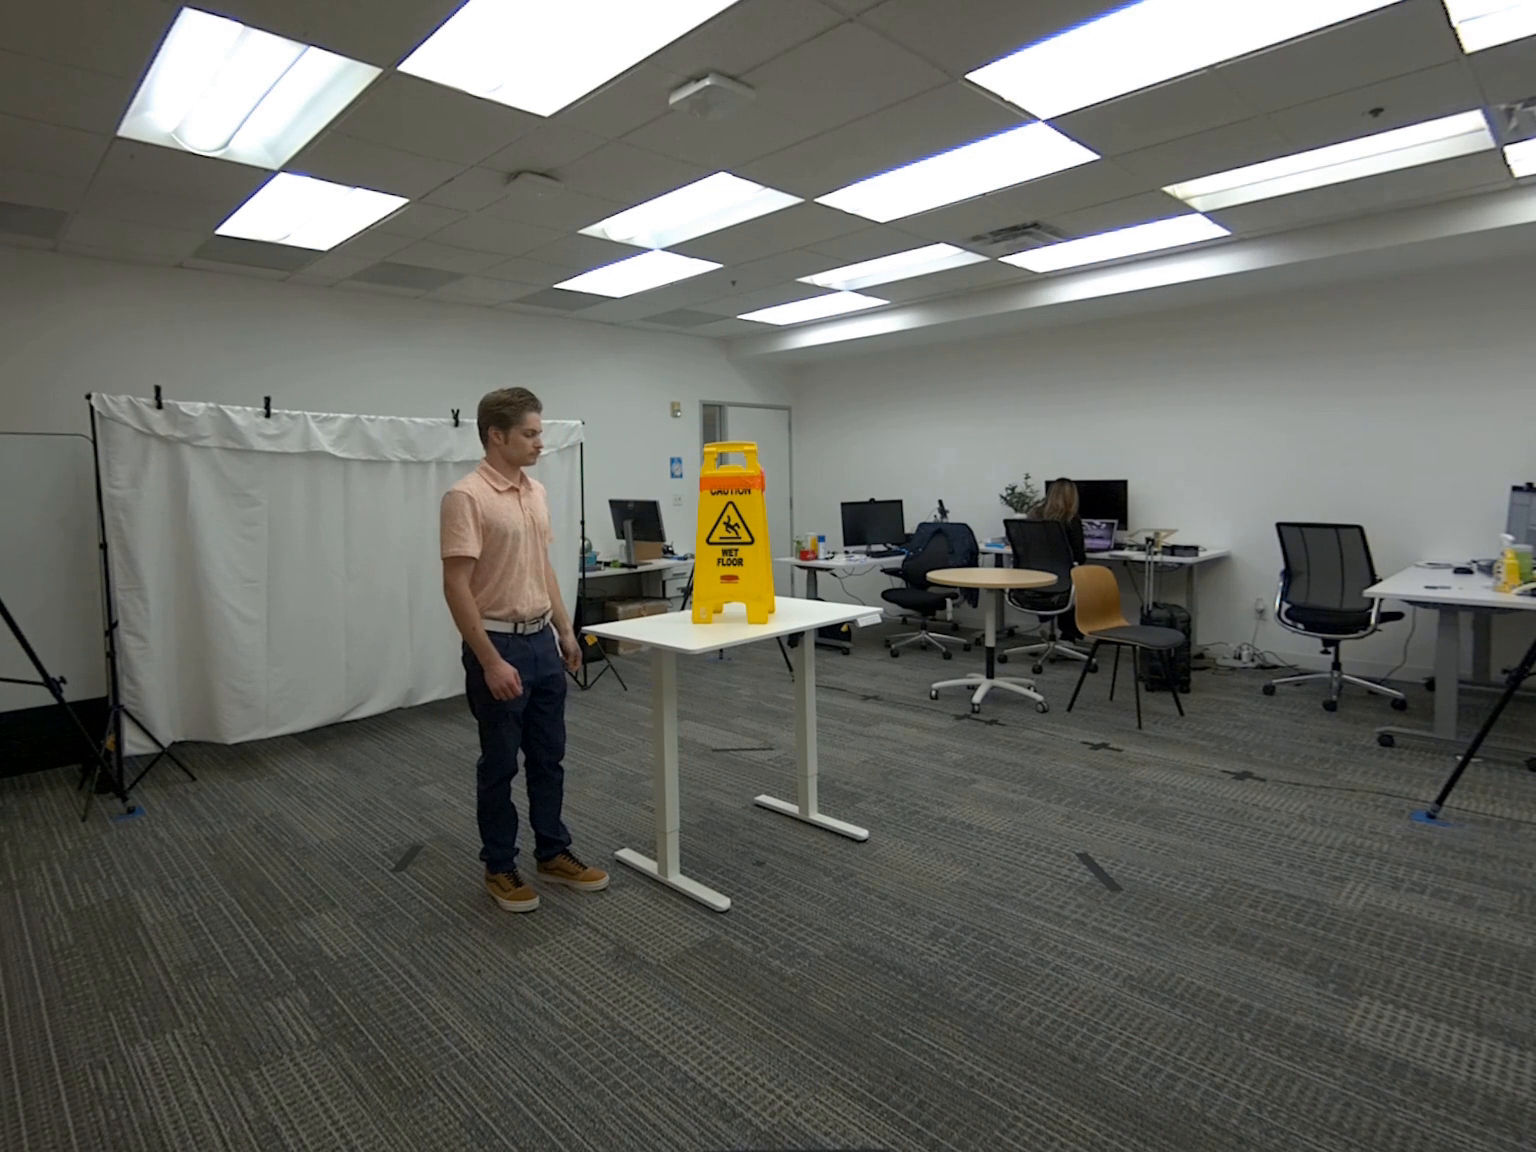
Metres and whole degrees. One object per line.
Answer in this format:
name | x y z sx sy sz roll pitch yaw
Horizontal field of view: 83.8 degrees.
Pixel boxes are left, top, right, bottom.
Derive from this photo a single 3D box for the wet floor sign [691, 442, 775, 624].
wet floor sign | -0.132 -0.165 3.156 0.284 0.643 0.289 -1 5 7
